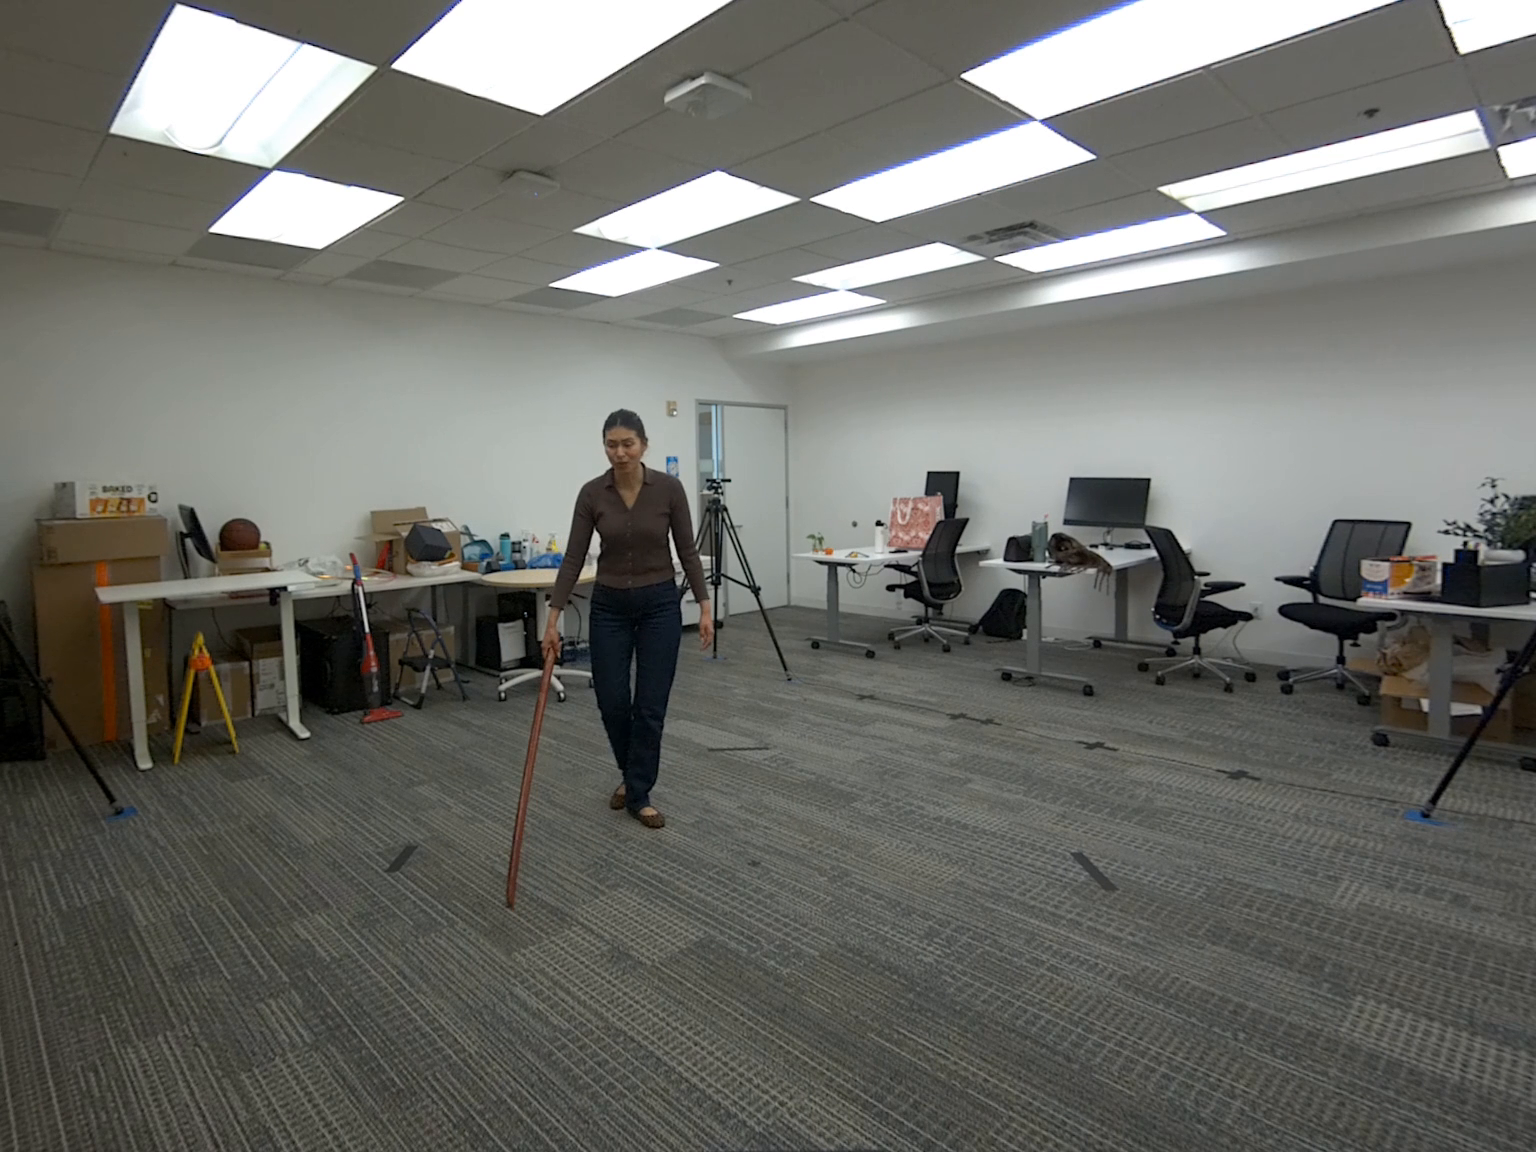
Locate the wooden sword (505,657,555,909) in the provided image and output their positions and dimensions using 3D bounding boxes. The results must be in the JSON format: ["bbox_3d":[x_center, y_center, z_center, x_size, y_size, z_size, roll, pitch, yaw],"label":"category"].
[{"bbox_3d":[-0.847,0.657,3.099,0.049,1.050,0.024,25,-42,-31],"label":"wooden sword"}]
